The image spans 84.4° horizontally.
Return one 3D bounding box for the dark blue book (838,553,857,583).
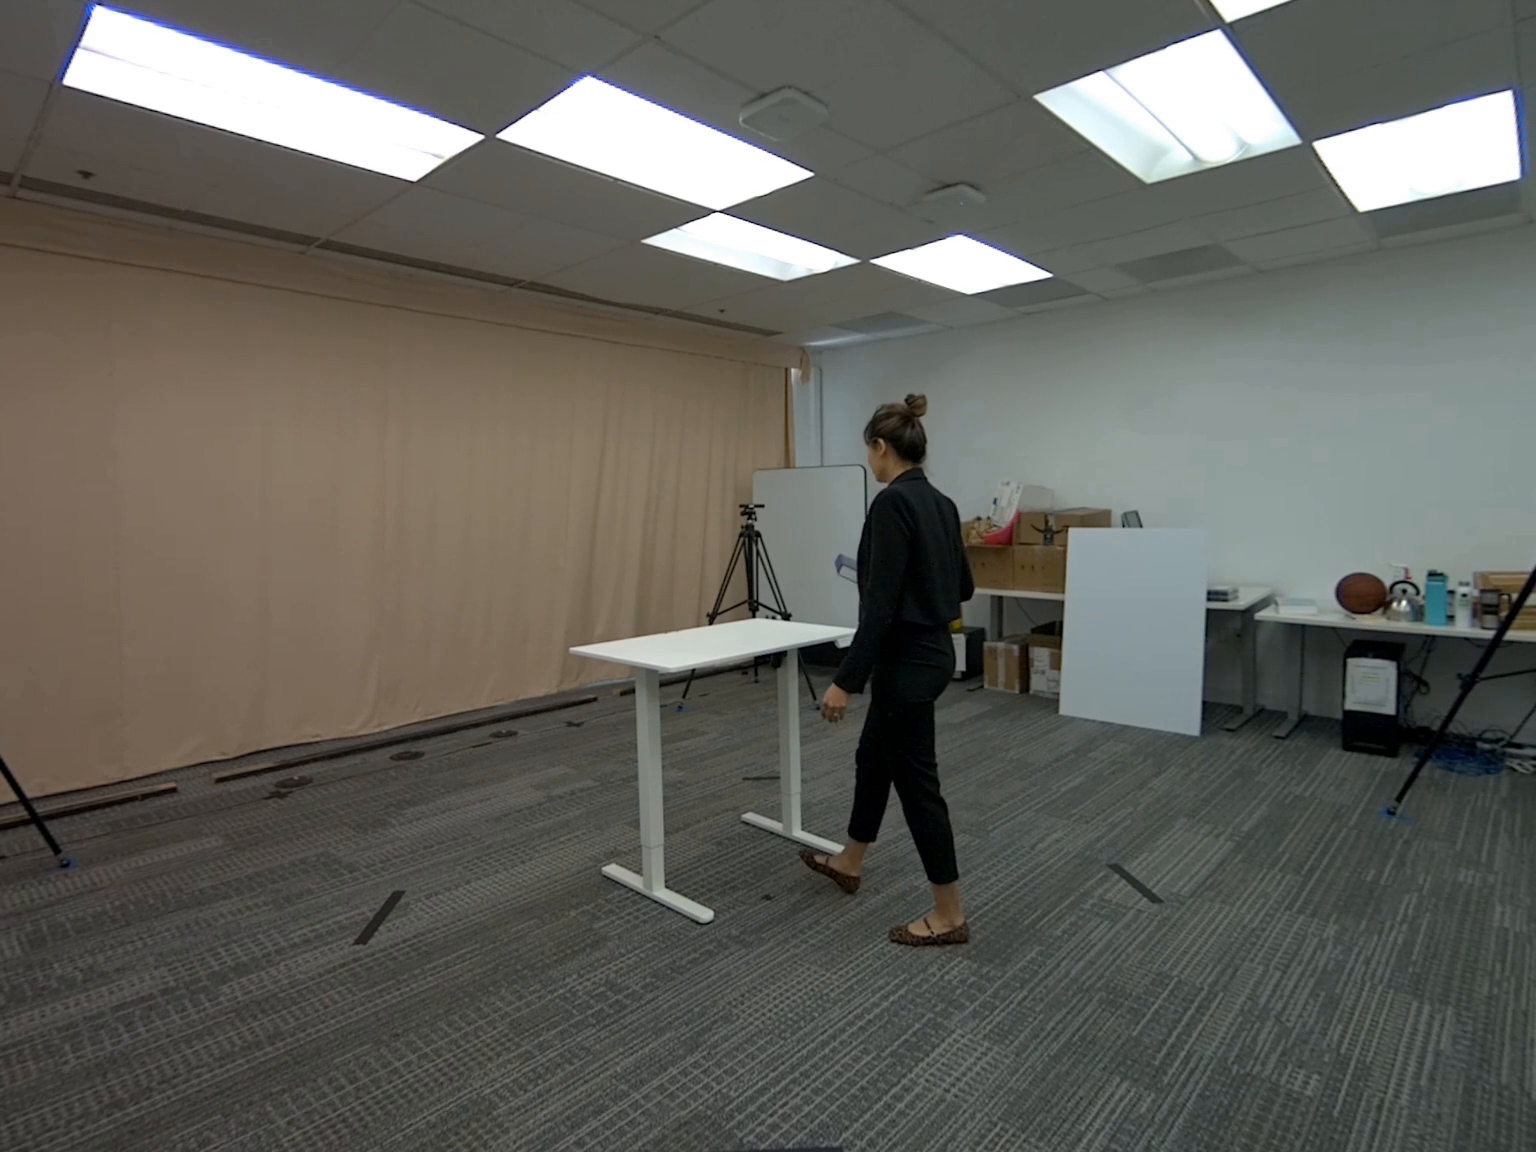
[{"bbox_3d":[0.342,-0.009,3.028,0.163,0.045,0.245,26,10,-2],"label":"dark blue book"}]
